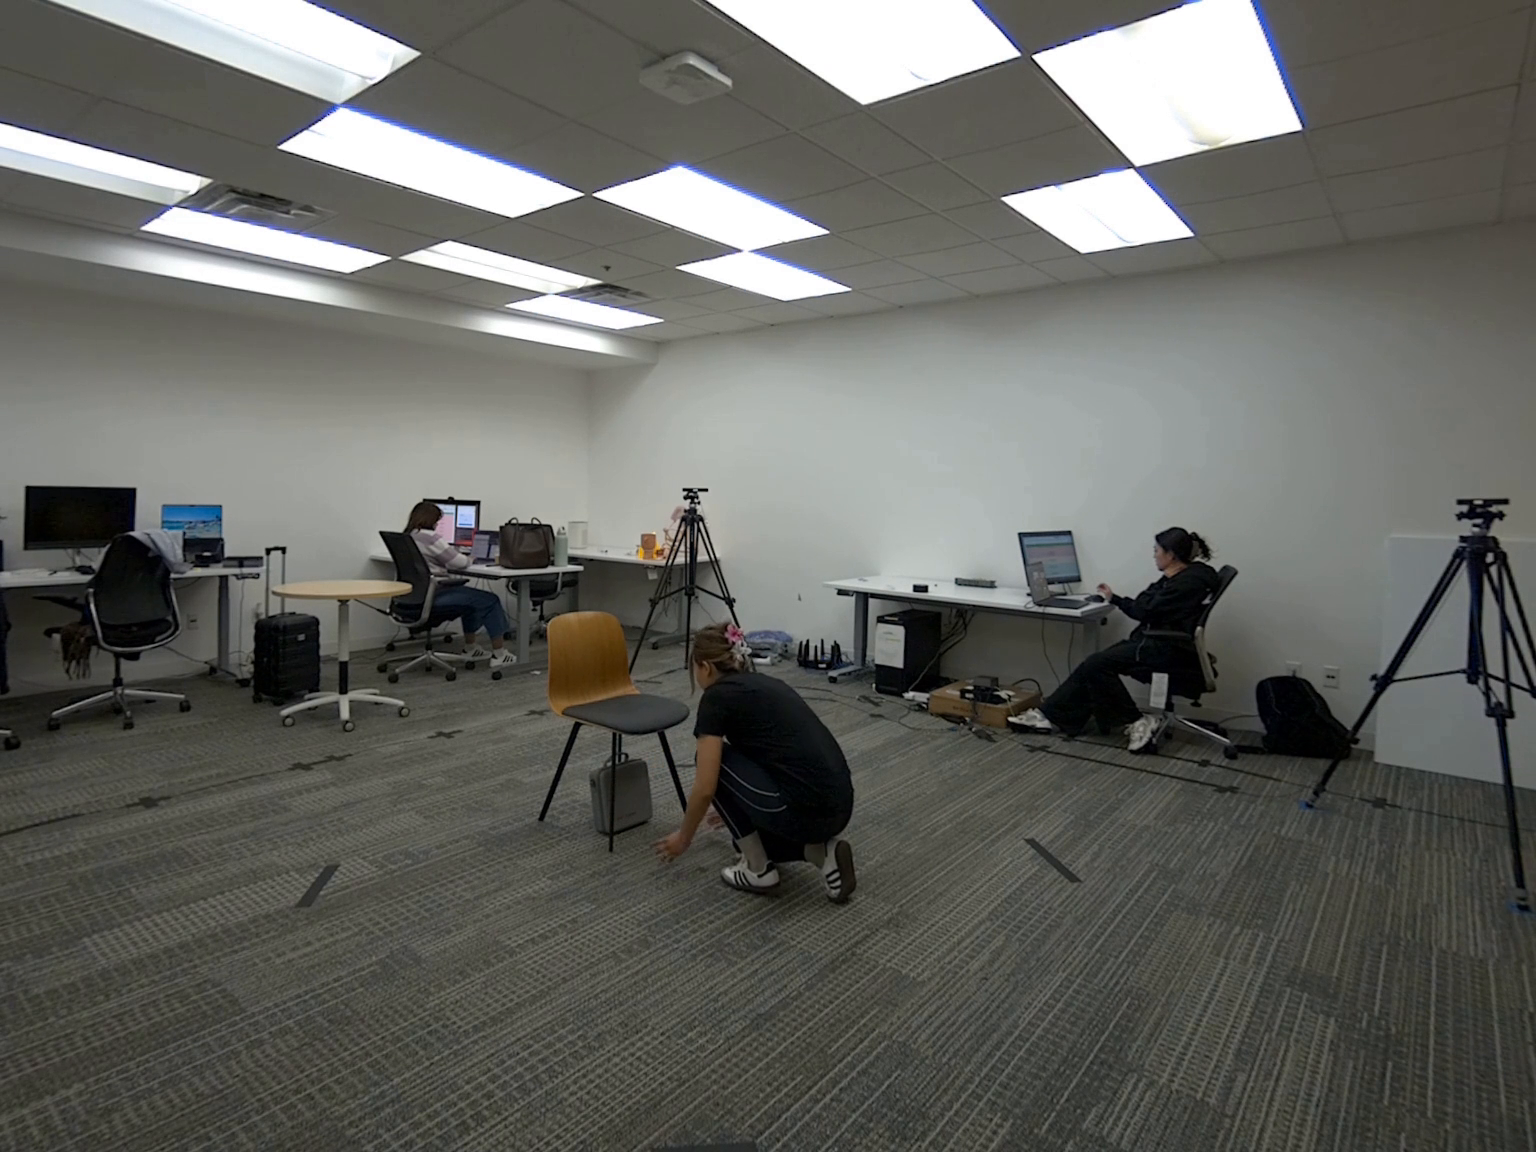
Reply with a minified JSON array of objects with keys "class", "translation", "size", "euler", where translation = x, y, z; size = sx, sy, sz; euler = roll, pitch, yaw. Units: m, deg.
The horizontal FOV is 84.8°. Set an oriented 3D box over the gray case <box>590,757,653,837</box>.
[{"class":"gray case","translation":[-0.617,0.897,3.498],"size":[0.107,0.262,0.249],"euler":[-11,-6,44]}]
